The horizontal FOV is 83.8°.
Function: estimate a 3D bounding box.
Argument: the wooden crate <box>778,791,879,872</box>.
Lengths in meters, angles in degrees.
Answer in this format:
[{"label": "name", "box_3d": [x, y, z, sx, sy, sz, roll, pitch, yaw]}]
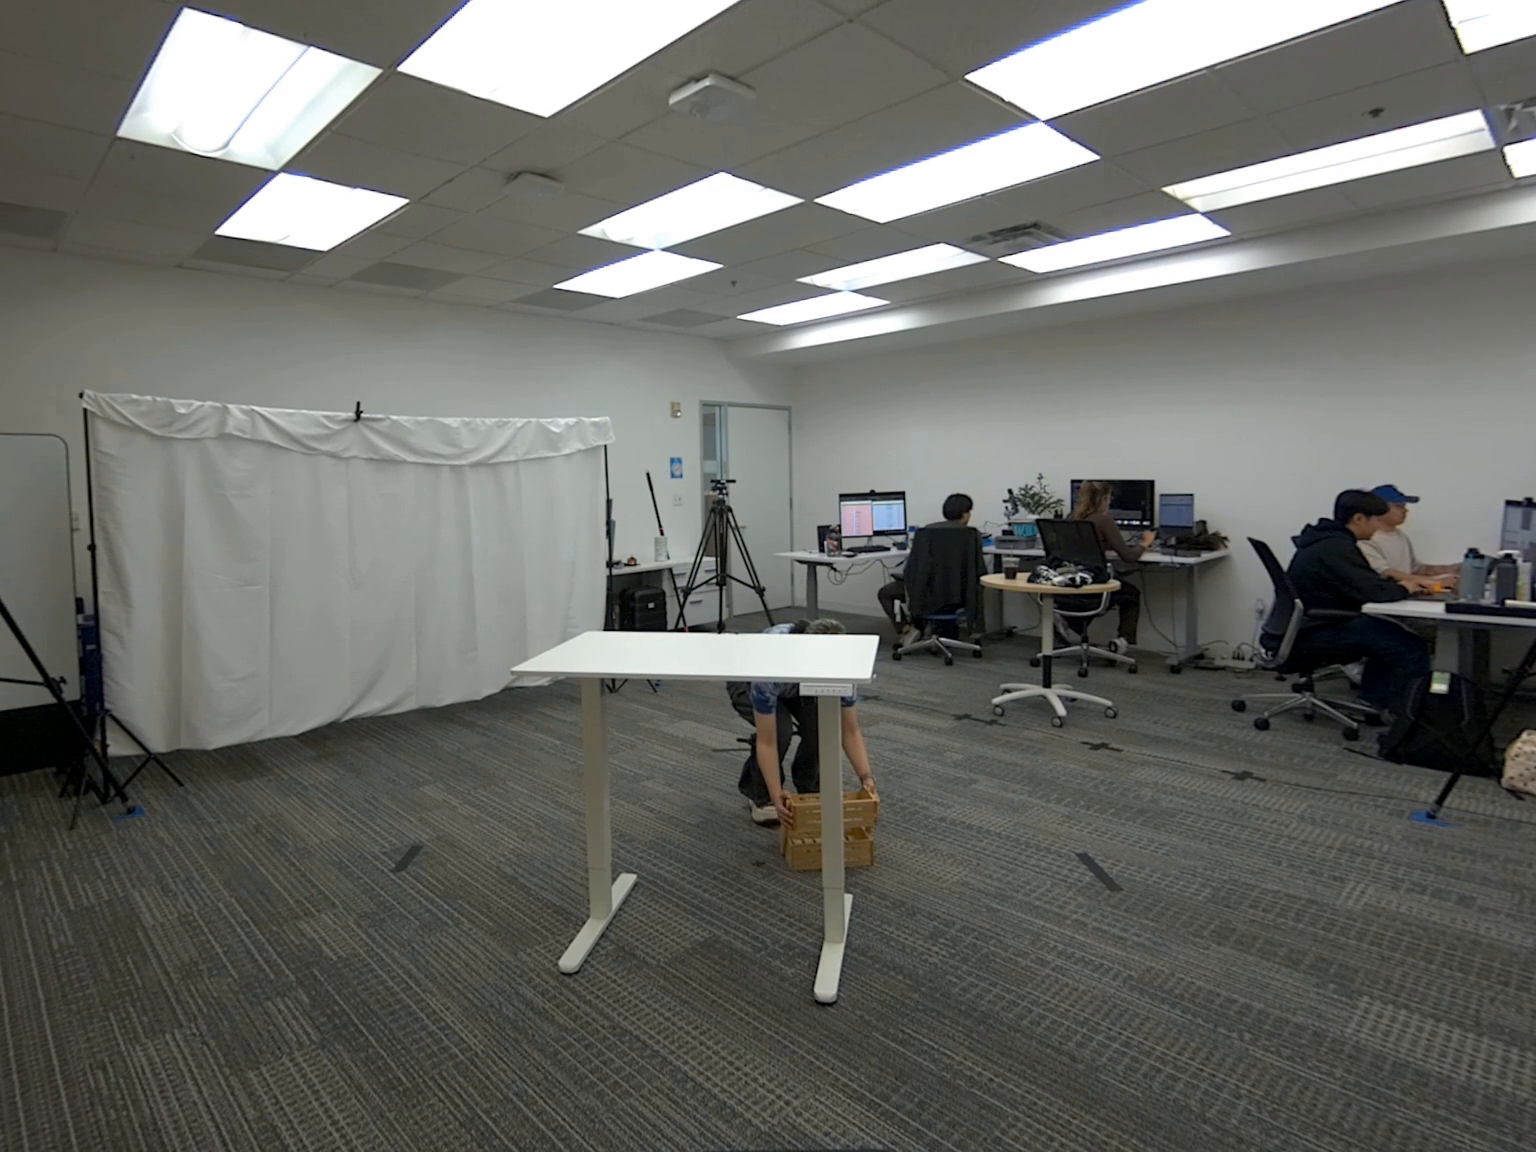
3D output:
[{"label": "wooden crate", "box_3d": [0.213, 0.907, 3.148, 0.322, 0.272, 0.306, -1, 5, -9]}]
